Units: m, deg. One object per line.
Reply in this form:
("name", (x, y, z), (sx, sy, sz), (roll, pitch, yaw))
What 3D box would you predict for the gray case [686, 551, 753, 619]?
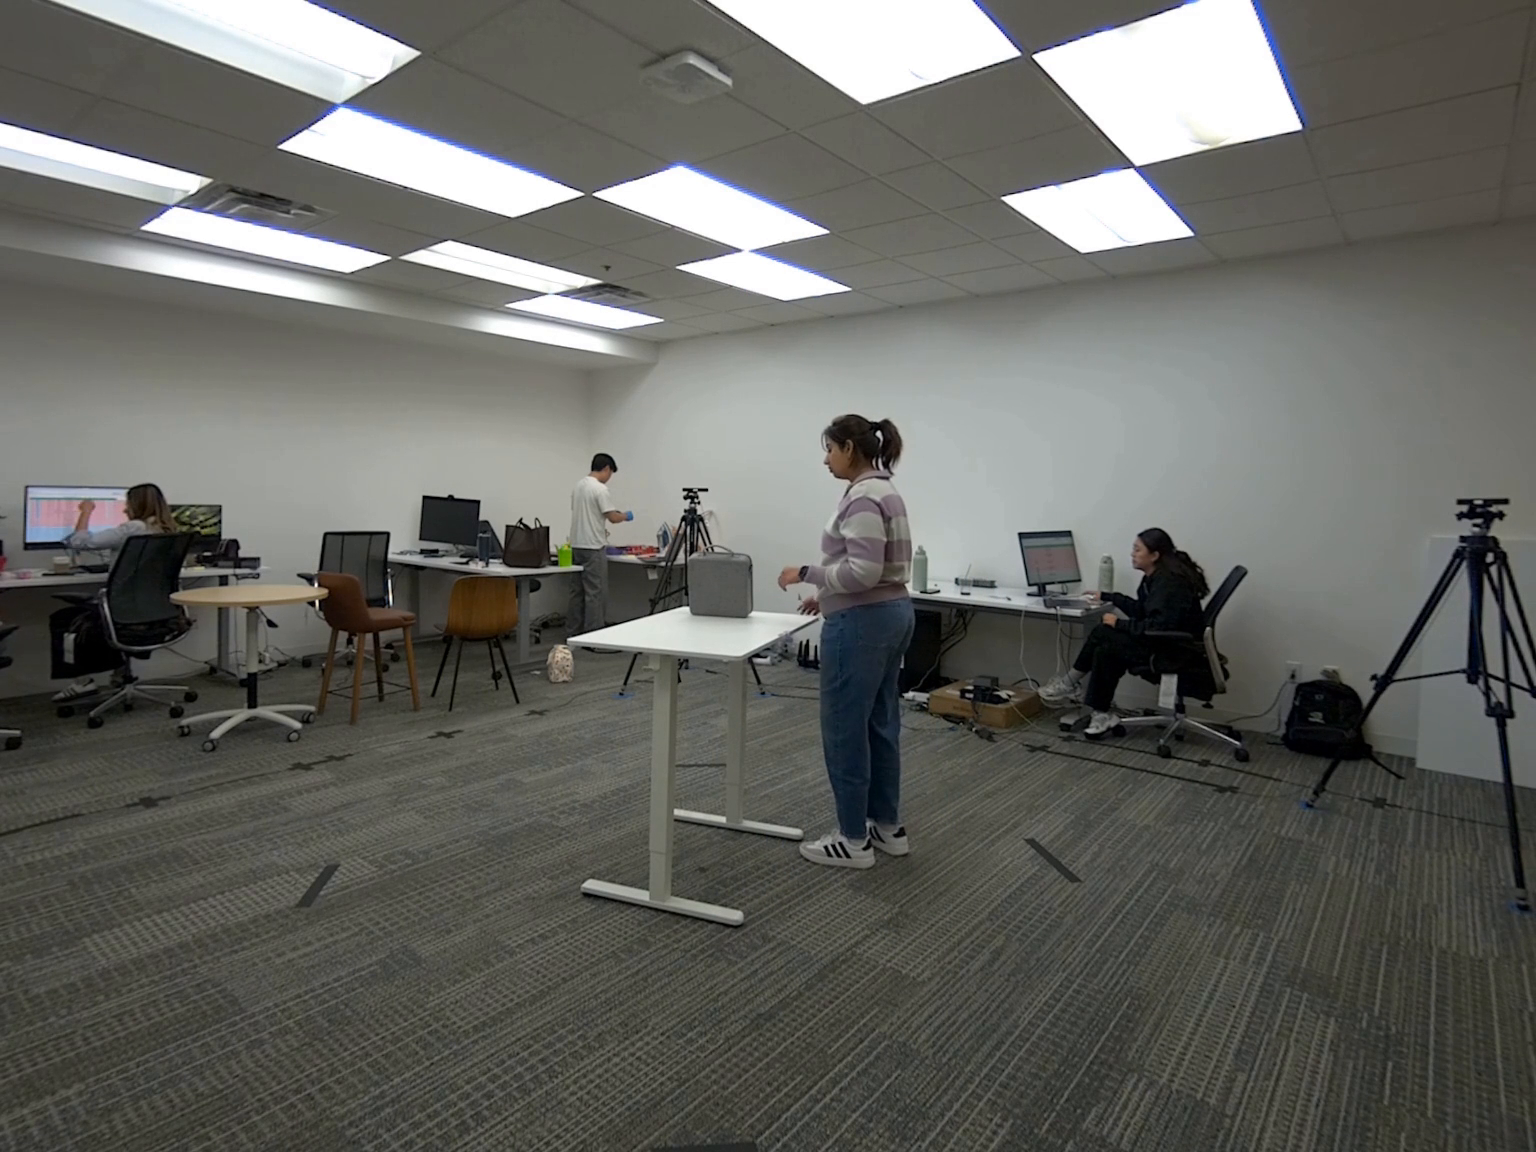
("gray case", (-0.202, 0.027, 3.418), (0.260, 0.257, 0.104), (1, 13, 13))
